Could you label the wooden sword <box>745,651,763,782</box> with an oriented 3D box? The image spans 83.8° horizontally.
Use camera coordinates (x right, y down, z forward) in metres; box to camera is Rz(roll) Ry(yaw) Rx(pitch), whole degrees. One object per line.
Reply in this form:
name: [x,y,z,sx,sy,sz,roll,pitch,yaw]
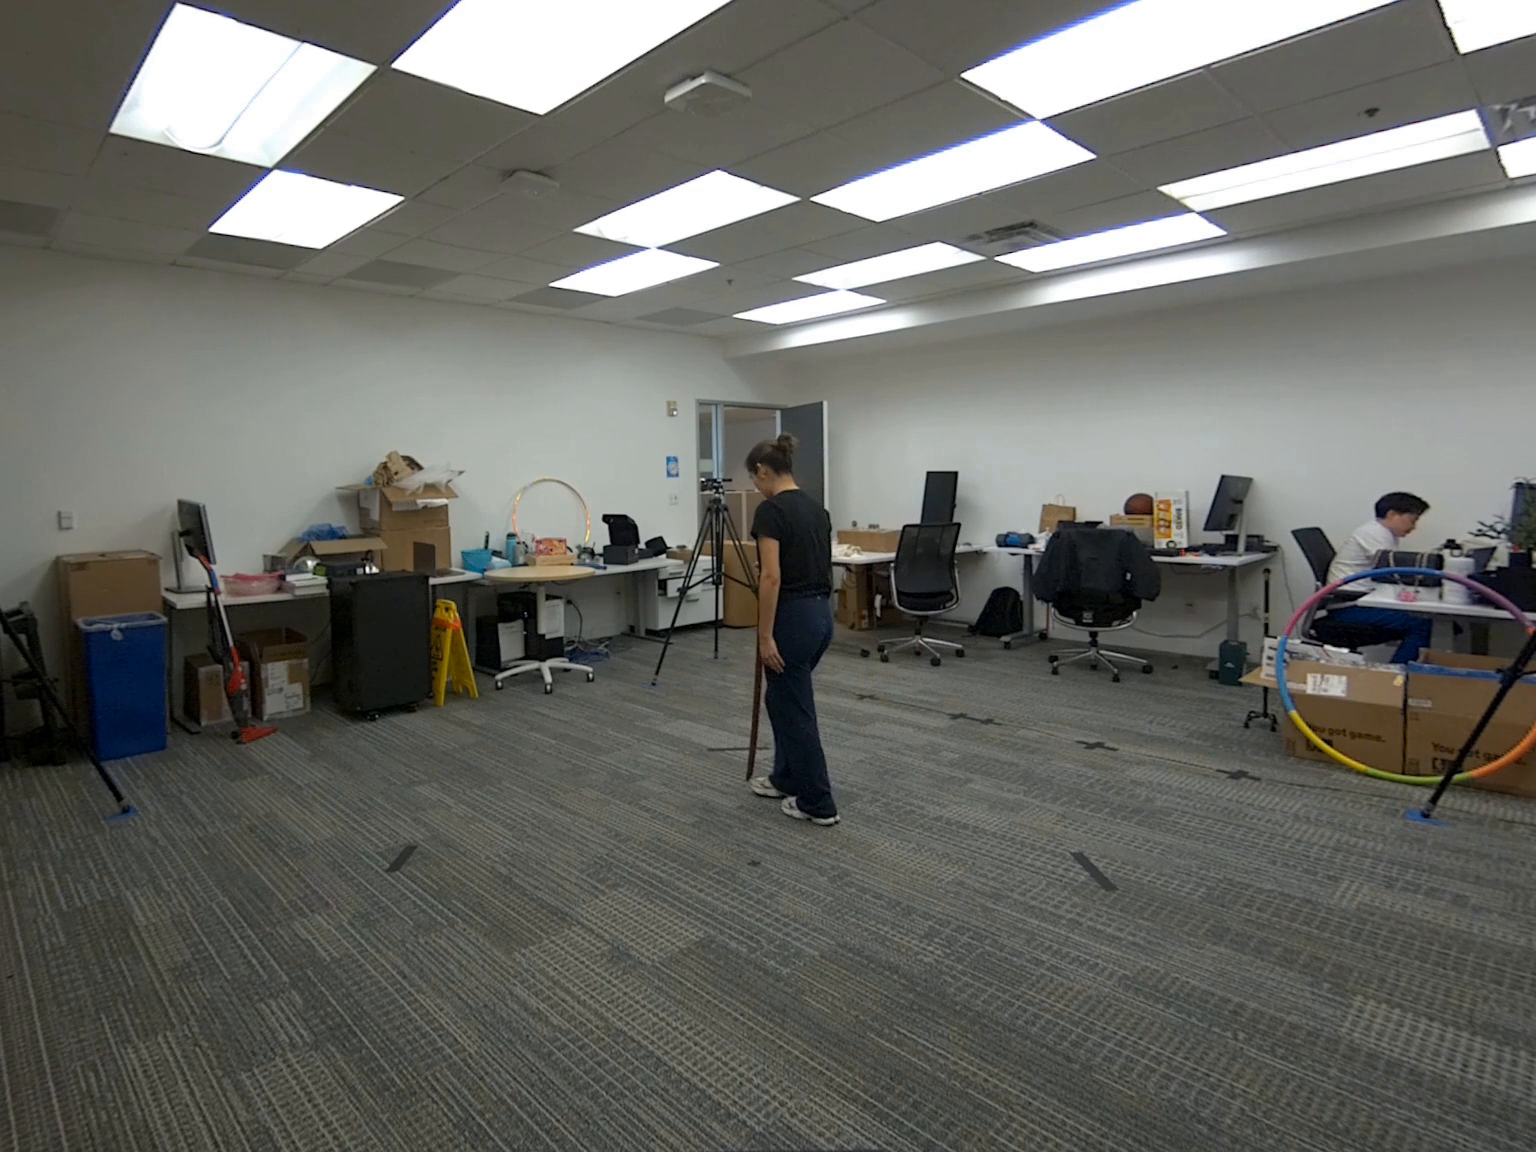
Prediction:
wooden sword: [-0.049,0.449,3.921,0.024,1.020,0.051,5,5,-2]
